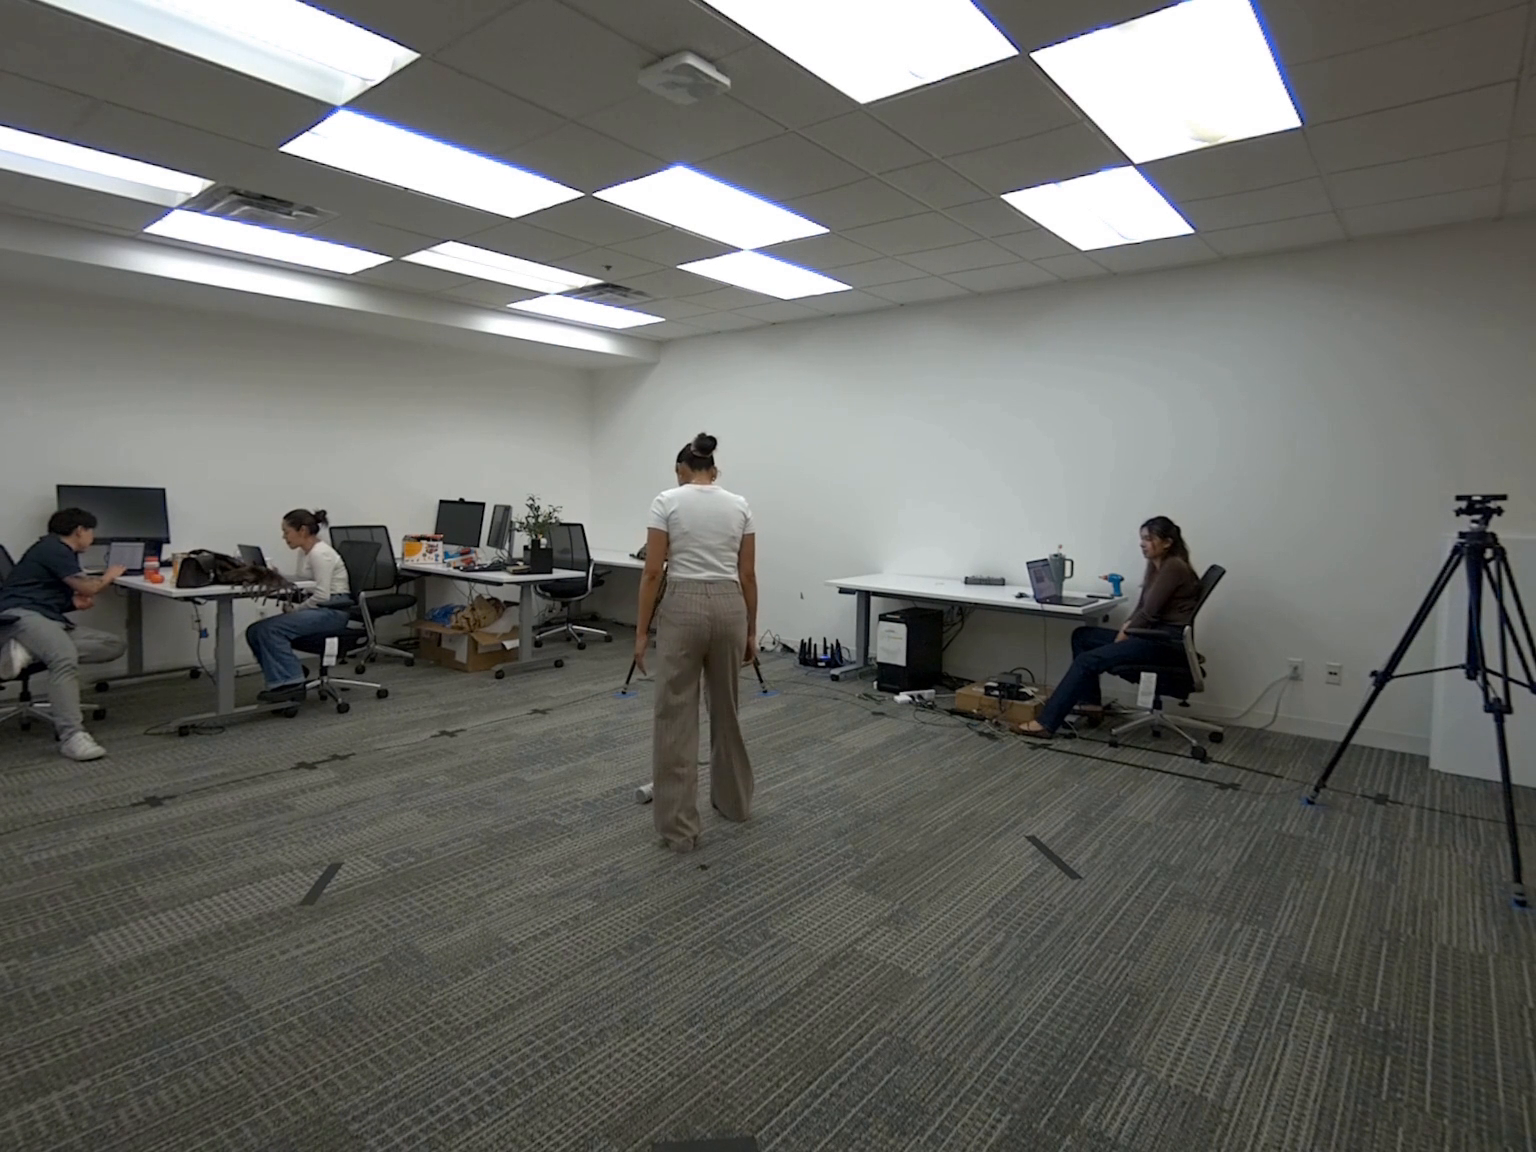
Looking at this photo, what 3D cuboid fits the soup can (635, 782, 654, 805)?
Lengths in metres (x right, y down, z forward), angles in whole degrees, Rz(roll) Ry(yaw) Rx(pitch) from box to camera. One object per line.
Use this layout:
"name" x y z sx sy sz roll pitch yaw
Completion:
"soup can" -0.536 0.950 3.787 0.069 0.067 0.118 3 6 33
